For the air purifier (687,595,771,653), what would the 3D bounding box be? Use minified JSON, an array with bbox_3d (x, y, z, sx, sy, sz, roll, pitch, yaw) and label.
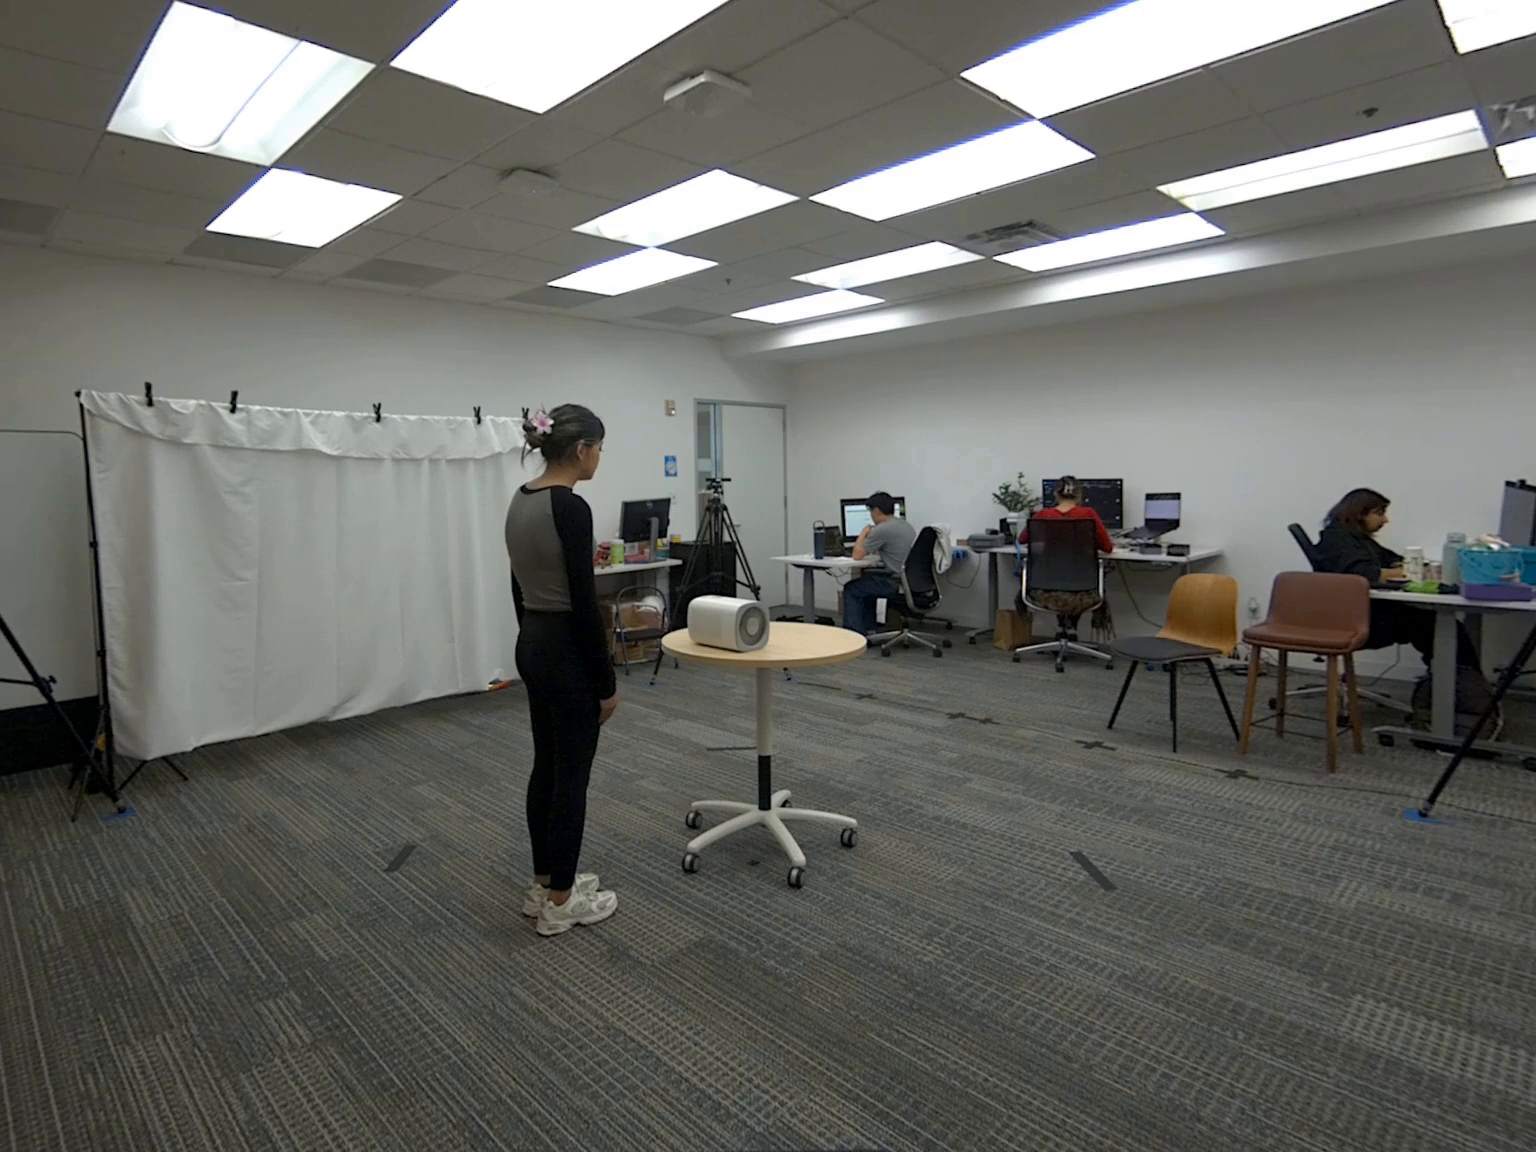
[{"bbox_3d":[-0.146,0.164,3.072,0.273,0.171,0.166,4,7,44],"label":"air purifier"}]
